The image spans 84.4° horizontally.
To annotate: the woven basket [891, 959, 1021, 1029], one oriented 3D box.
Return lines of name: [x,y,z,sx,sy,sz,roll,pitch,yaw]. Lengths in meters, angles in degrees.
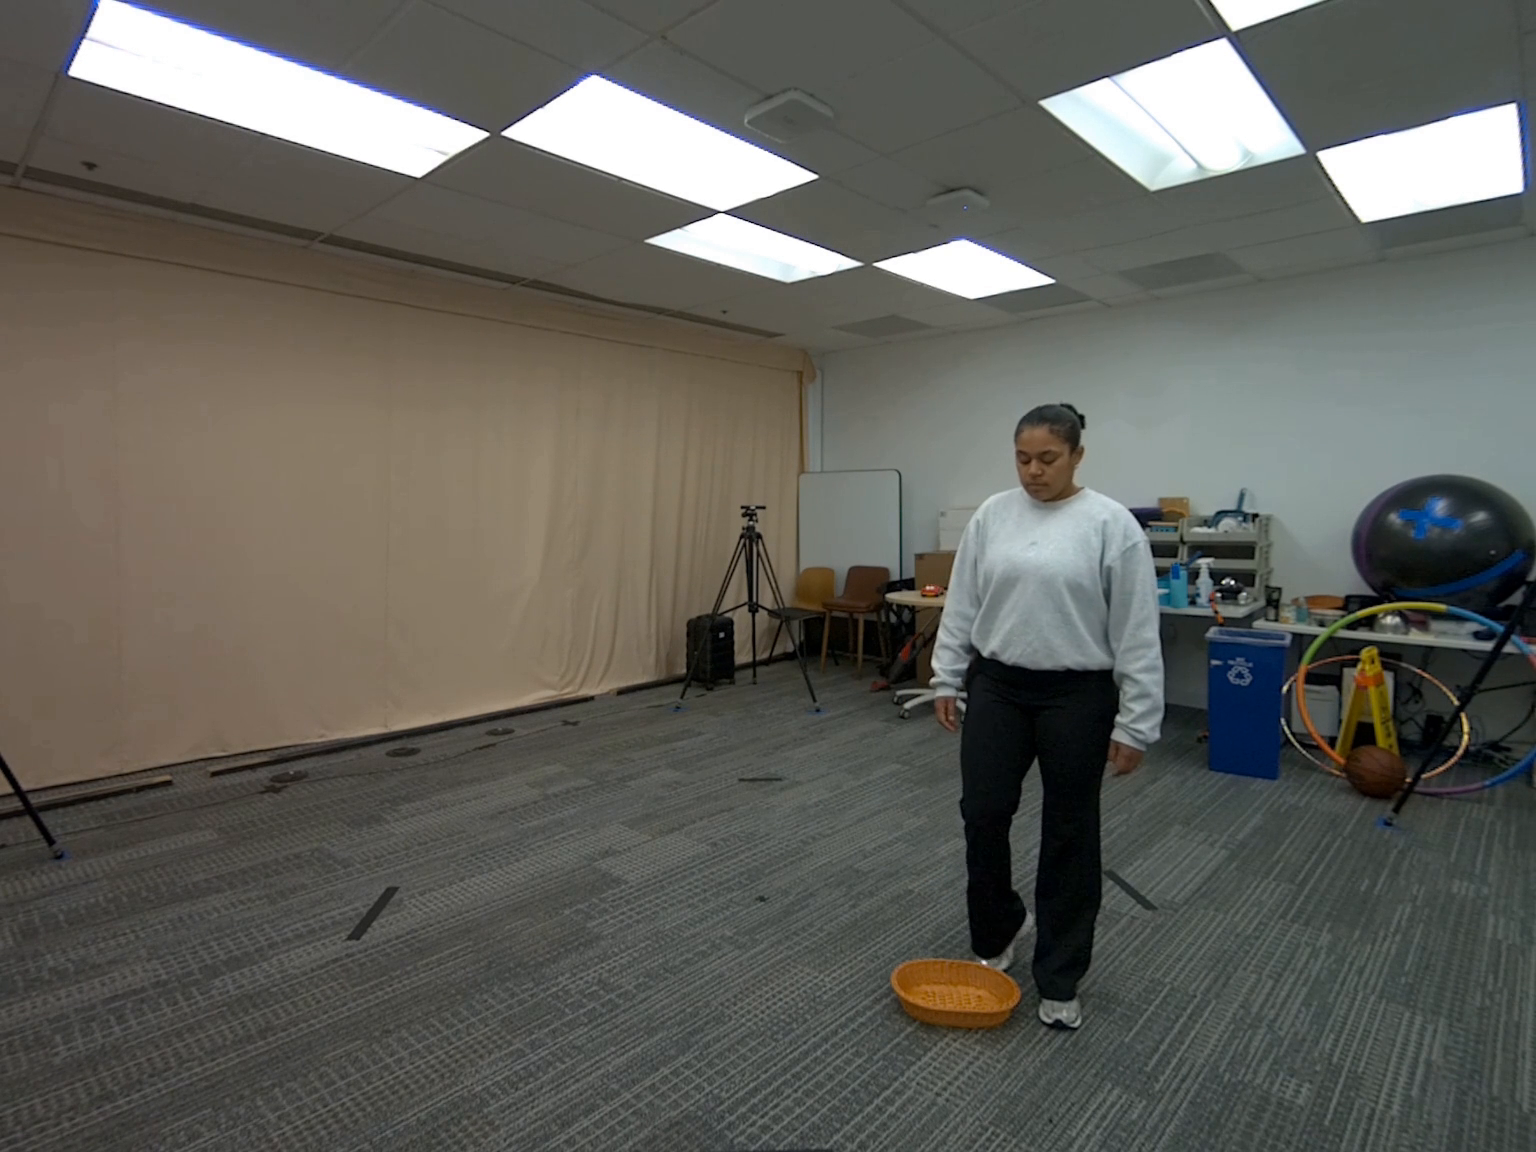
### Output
woven basket: [0.509,1.160,2.328,0.353,0.073,0.251,1,4,7]
